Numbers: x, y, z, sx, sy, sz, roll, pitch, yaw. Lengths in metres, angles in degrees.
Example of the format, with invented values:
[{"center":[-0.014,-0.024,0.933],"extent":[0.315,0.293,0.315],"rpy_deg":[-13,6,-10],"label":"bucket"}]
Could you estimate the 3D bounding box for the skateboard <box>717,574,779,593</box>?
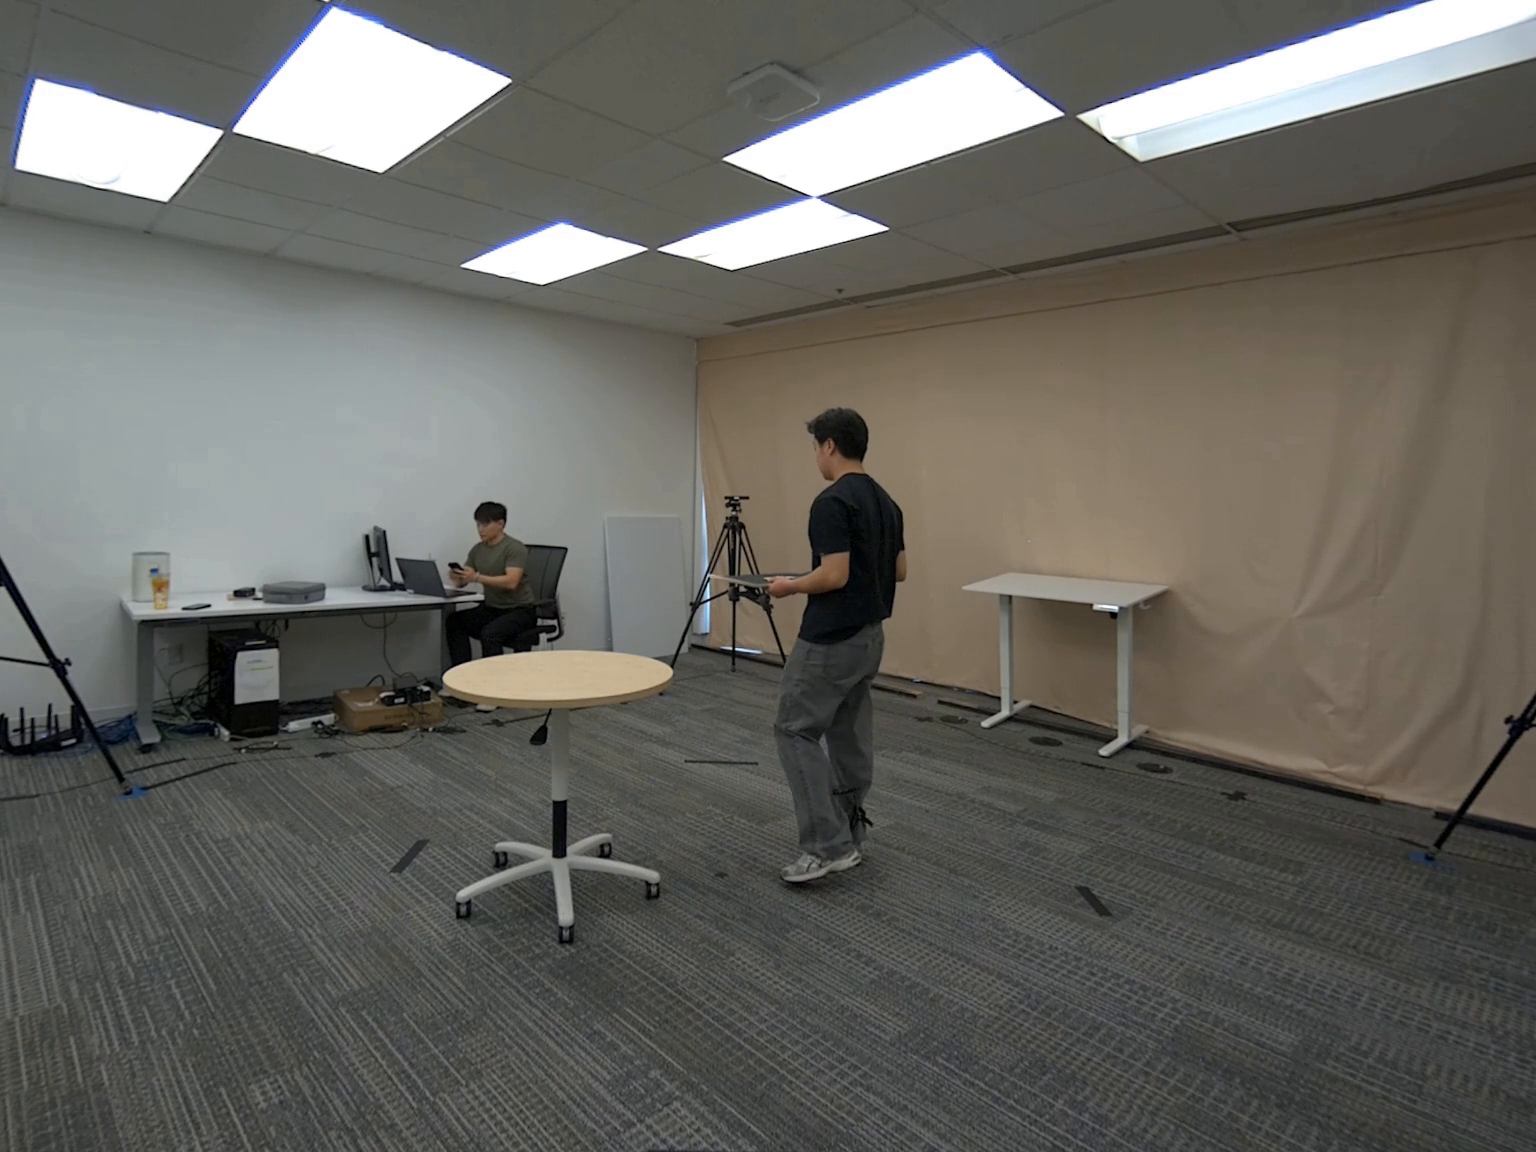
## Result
[{"center":[0.044,0.045,3.404],"extent":[0.199,0.110,0.767],"rpy_deg":[10,8,40],"label":"skateboard"}]
